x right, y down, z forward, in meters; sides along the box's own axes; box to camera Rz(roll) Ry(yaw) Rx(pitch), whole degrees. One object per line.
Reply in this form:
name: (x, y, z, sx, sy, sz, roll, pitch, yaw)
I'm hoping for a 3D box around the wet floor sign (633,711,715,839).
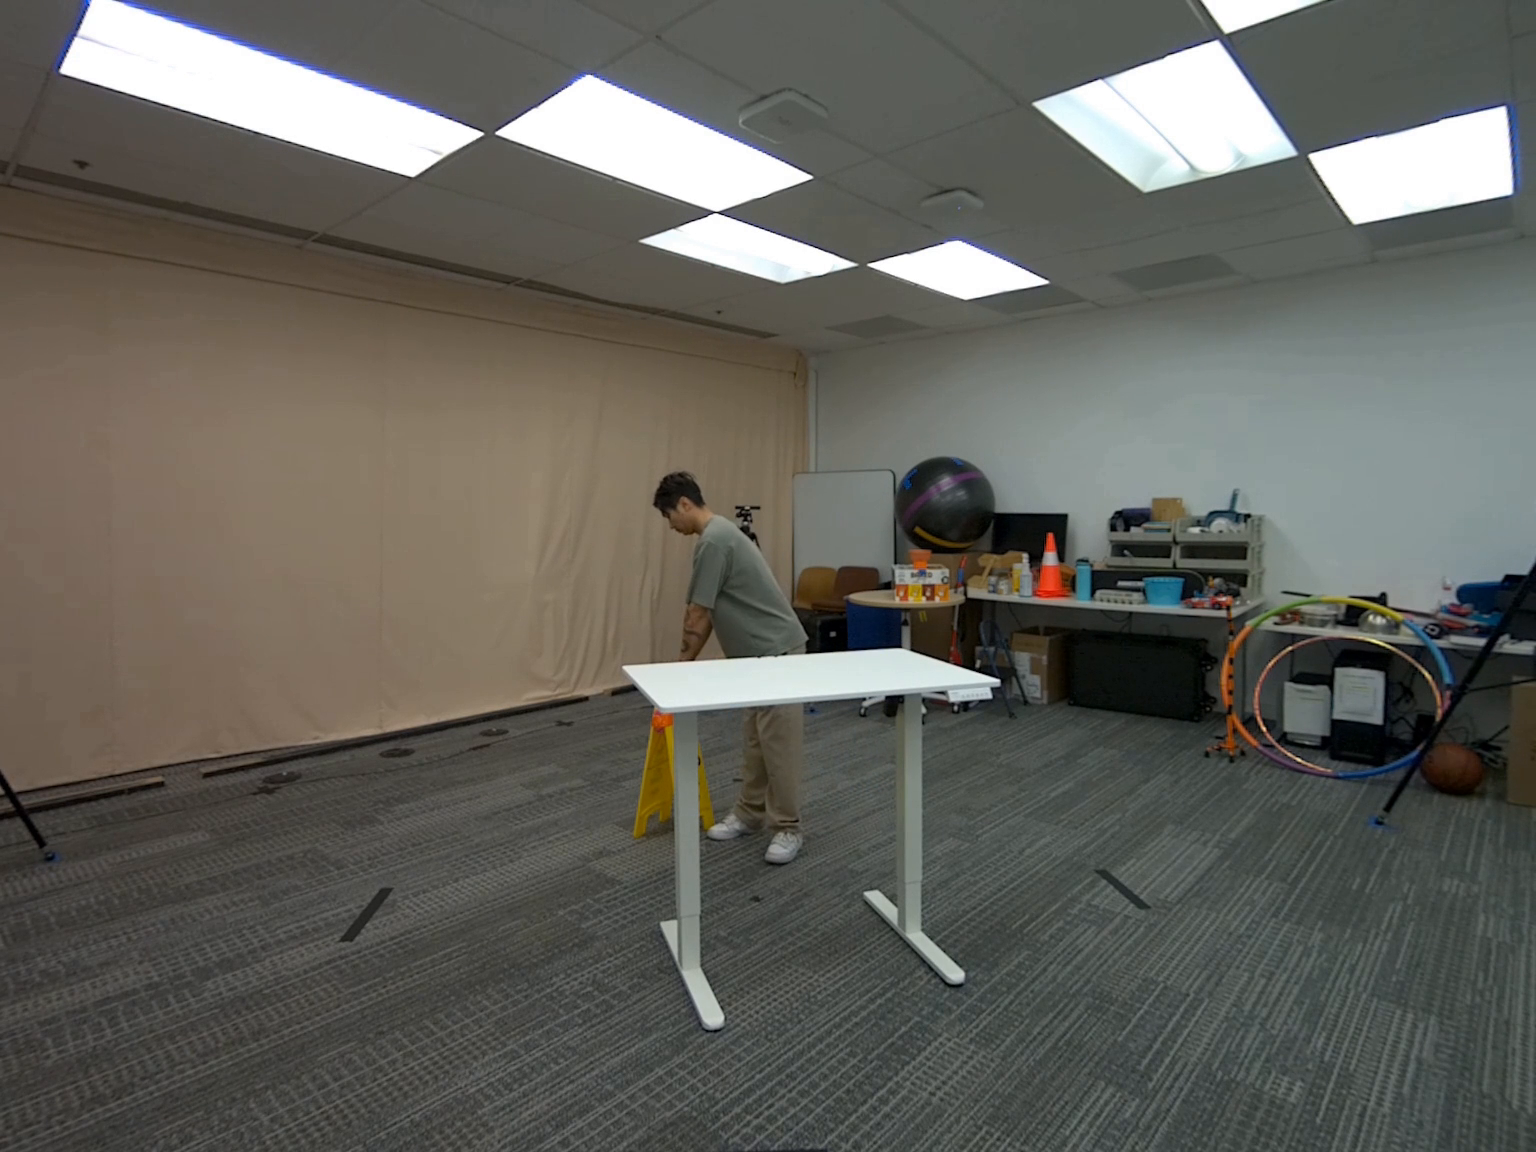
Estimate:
wet floor sign: (-0.397, 0.778, 3.587, 0.297, 0.645, 0.275, 0, 2, 26)
